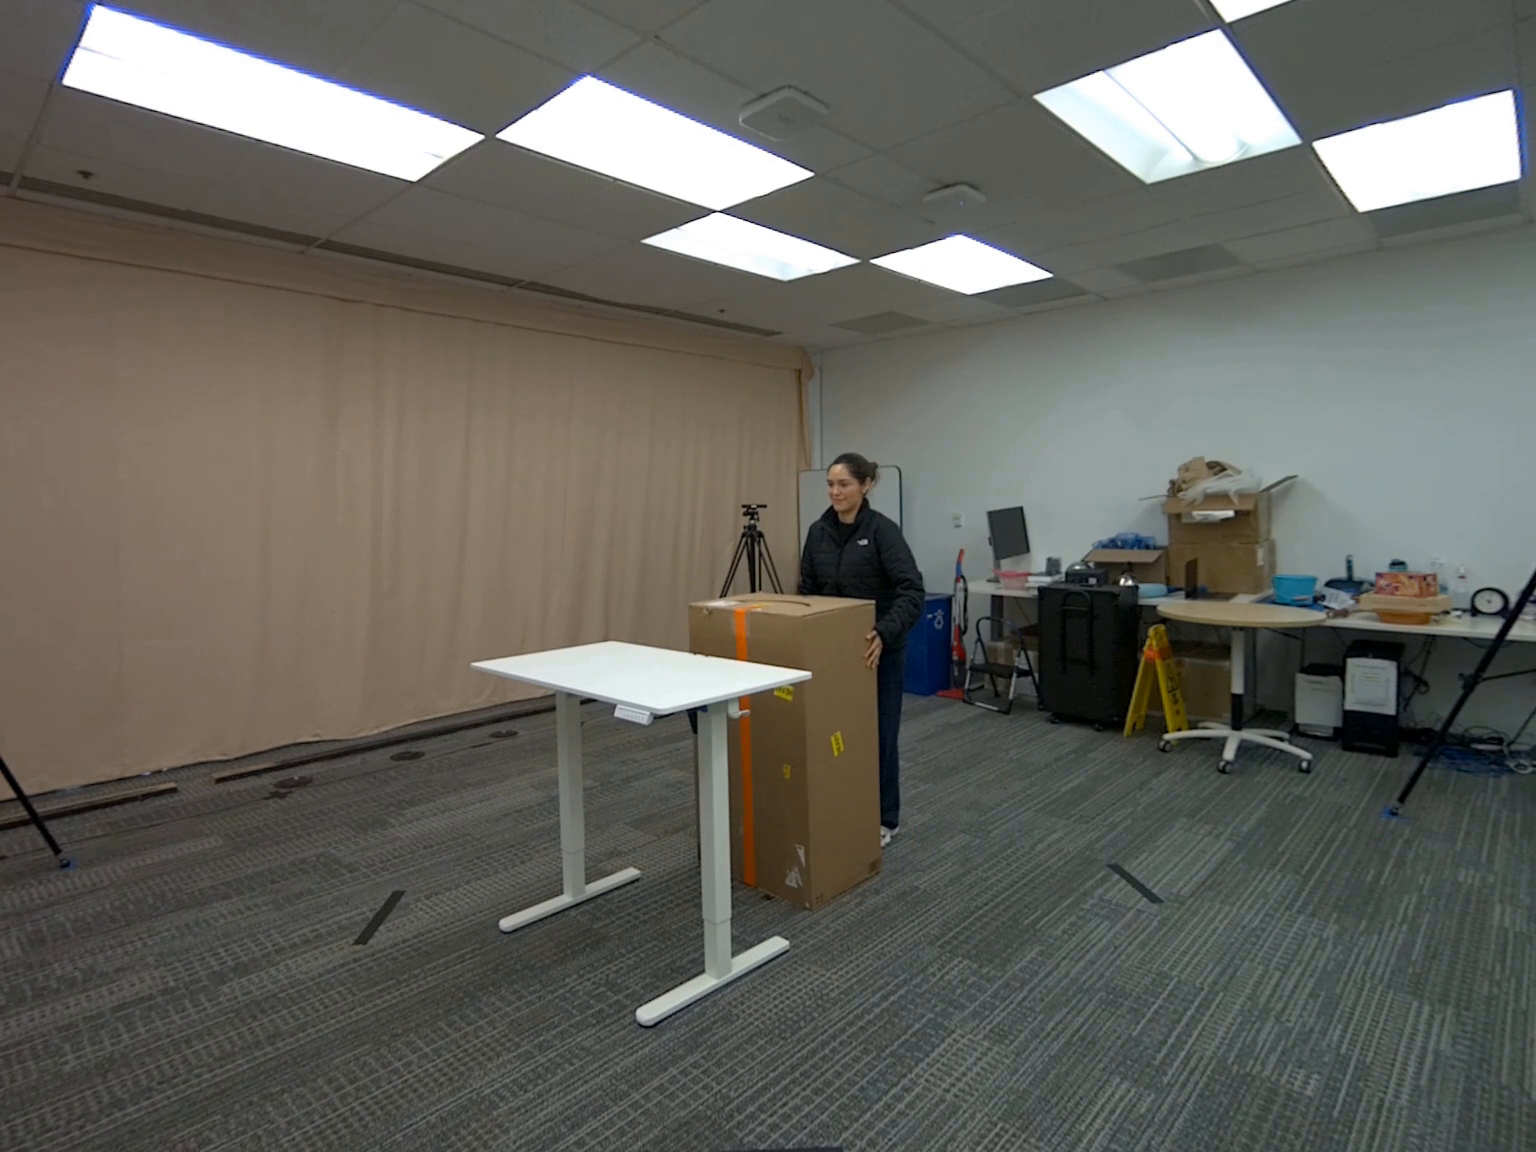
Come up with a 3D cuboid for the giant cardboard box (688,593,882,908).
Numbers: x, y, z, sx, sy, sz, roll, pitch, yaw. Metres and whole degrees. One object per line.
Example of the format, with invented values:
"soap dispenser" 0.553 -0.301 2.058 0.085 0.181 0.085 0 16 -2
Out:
"giant cardboard box" 0.068 0.610 3.194 0.597 1.023 0.413 2 5 44
